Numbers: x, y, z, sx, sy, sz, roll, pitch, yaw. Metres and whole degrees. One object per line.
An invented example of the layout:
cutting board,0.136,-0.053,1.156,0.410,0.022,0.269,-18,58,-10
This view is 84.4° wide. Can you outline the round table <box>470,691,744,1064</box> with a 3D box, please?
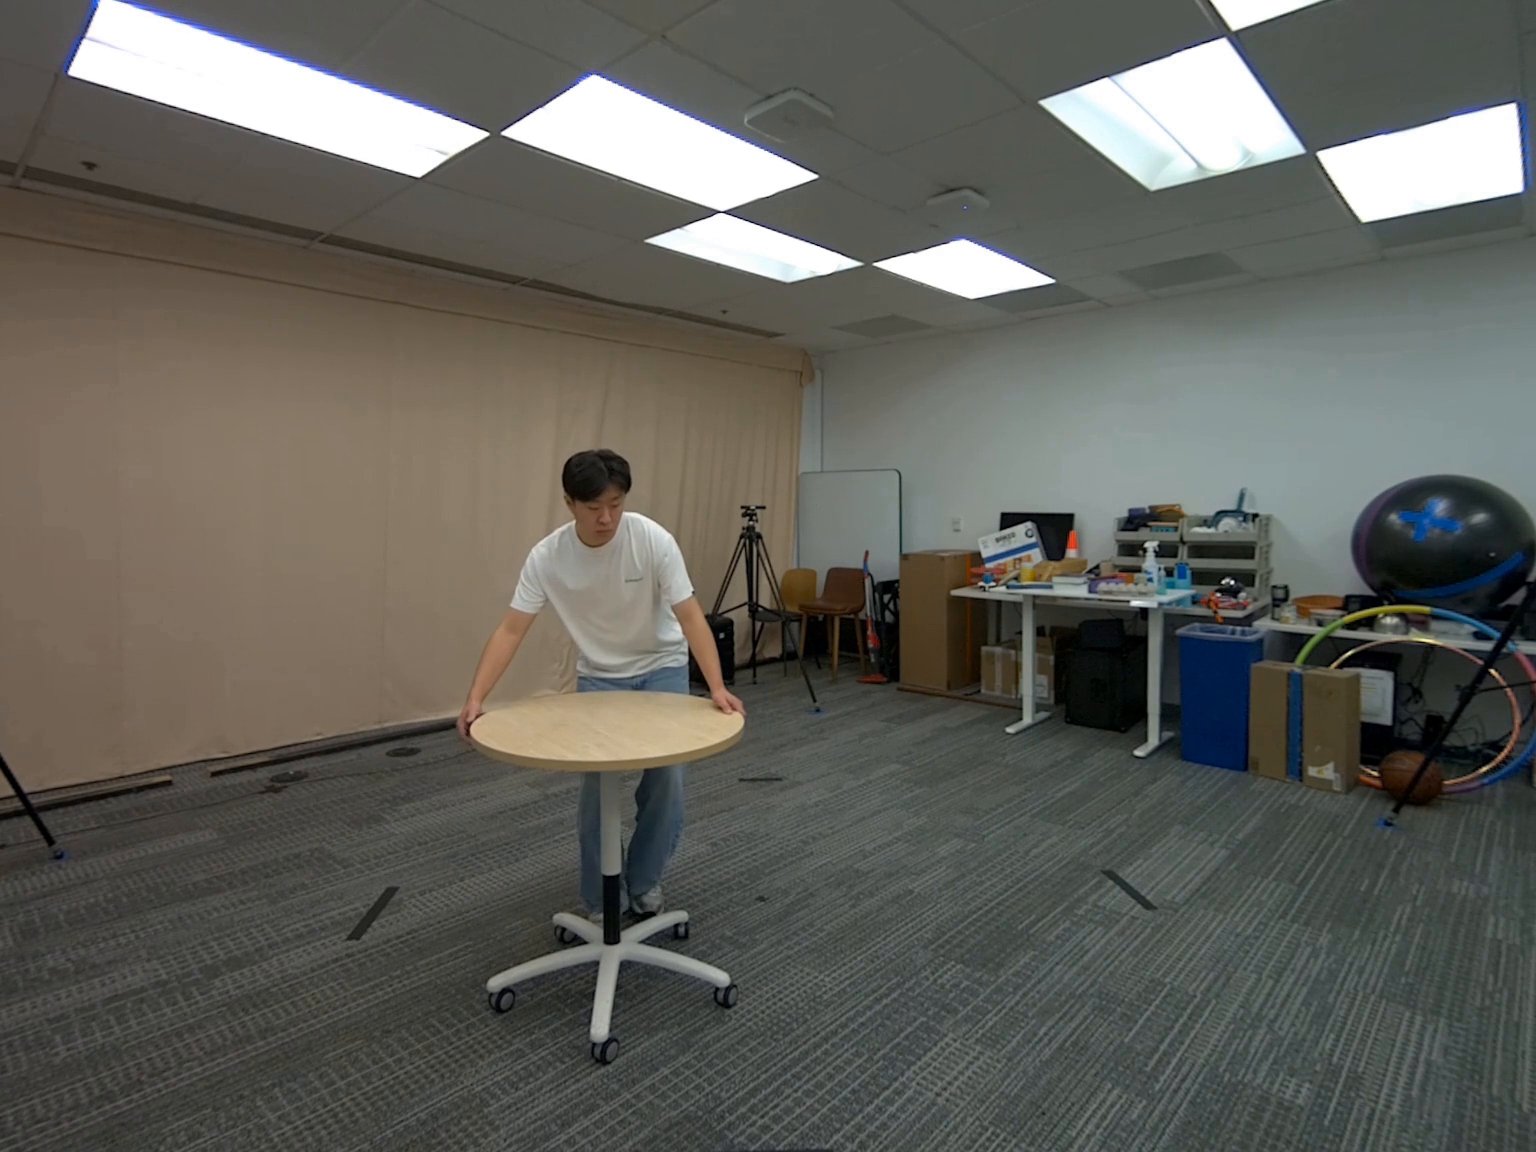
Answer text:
round table,-0.440,0.802,2.411,0.763,0.792,0.767,0,4,-2
